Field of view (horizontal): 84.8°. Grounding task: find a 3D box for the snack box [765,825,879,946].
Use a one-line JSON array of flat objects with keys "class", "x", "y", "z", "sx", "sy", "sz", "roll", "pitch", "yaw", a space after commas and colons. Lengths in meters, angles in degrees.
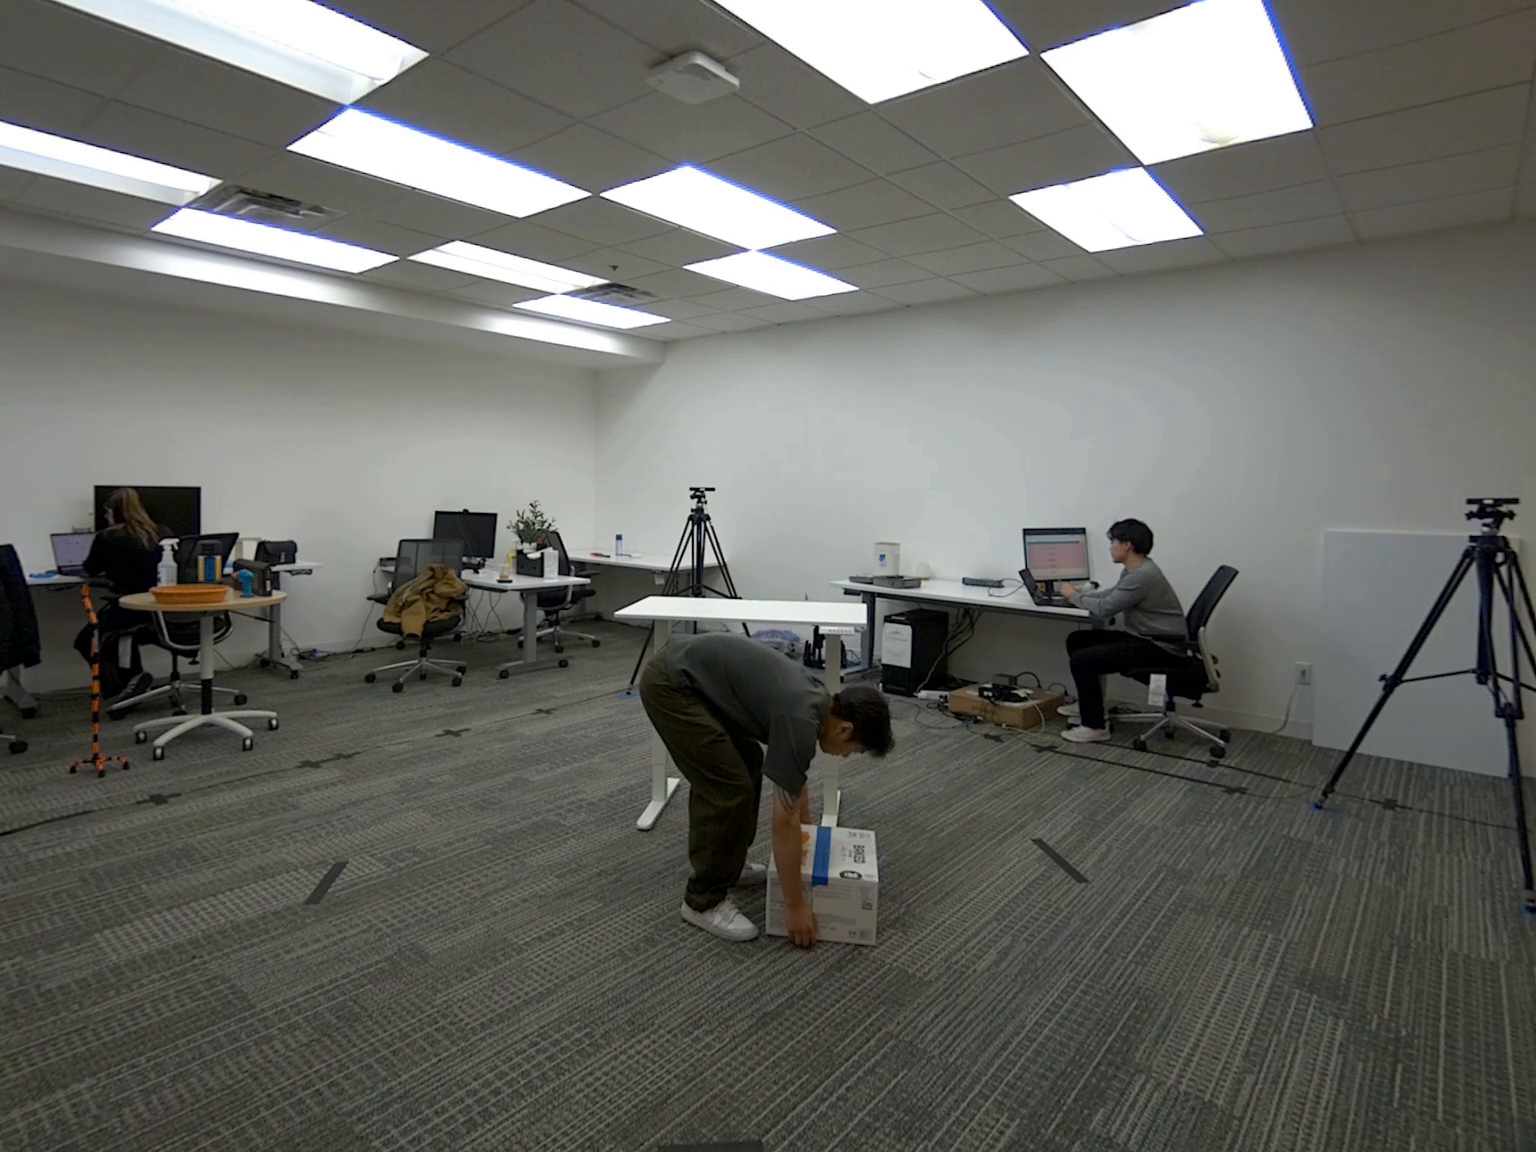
[{"class": "snack box", "x": 0.176, "y": 1.005, "z": 2.809, "sx": 0.343, "sy": 0.205, "sz": 0.403, "roll": 2, "pitch": 5, "yaw": 7}]
